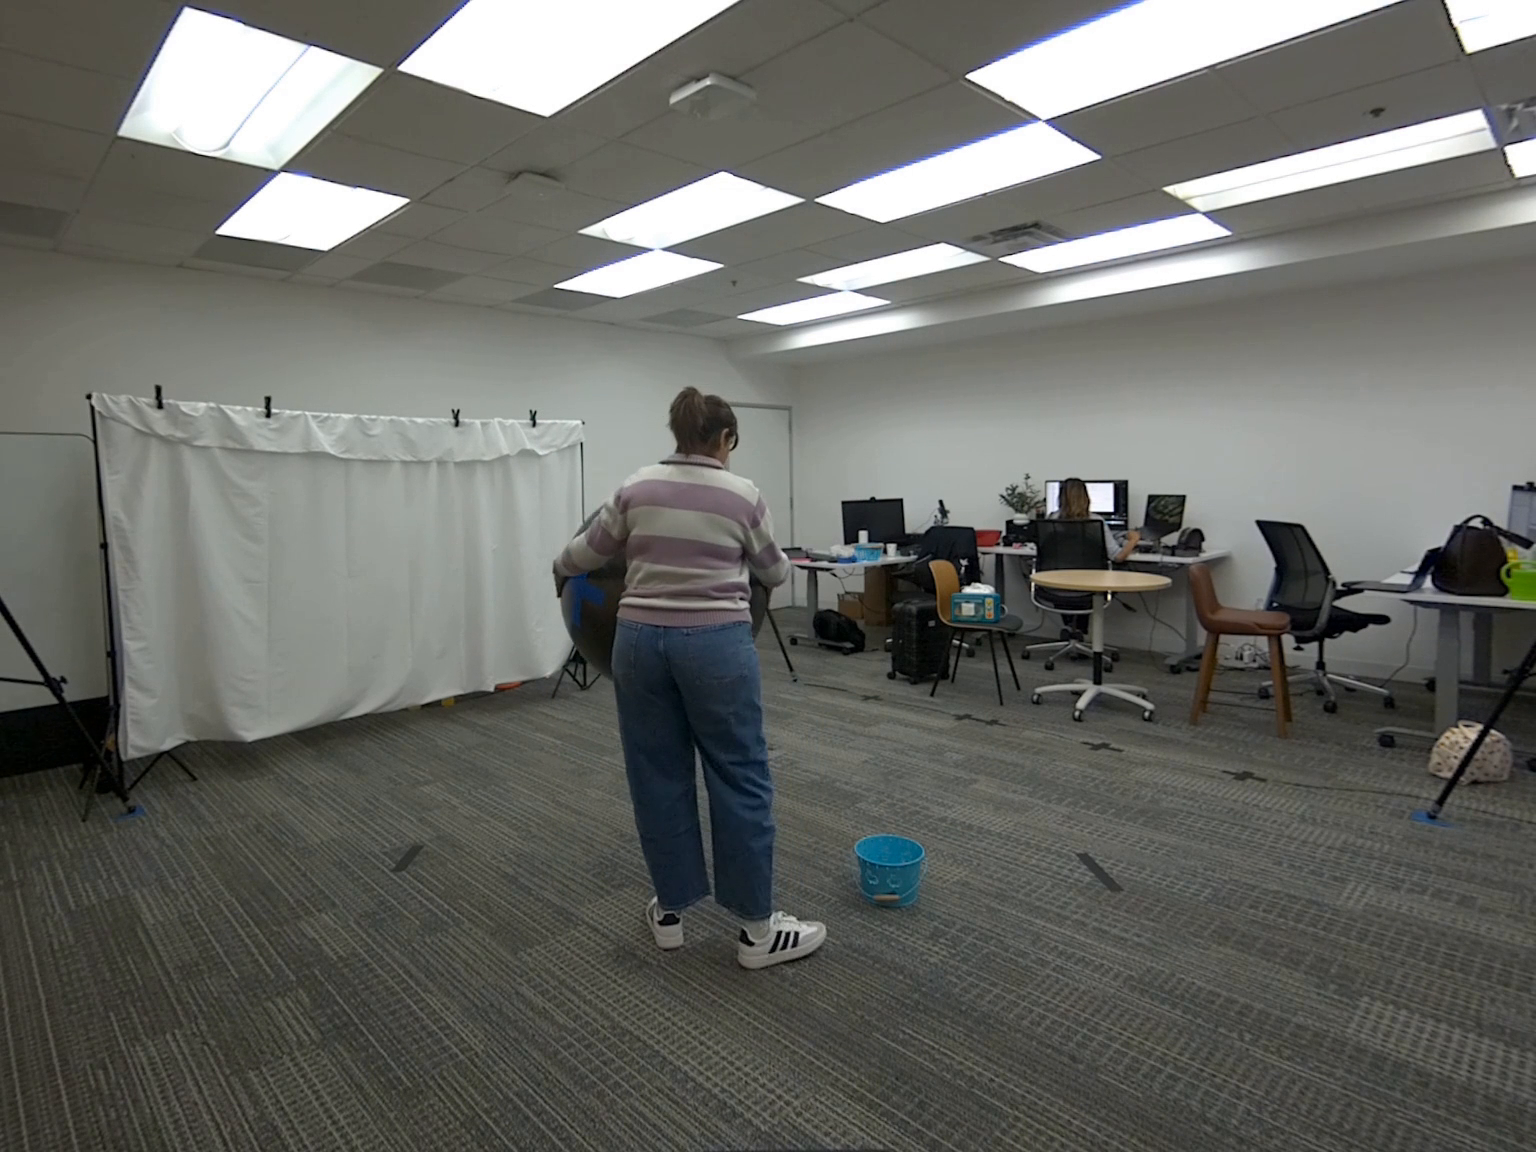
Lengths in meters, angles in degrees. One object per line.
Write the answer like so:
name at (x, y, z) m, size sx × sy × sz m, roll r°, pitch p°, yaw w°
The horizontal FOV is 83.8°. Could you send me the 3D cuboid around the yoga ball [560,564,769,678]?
yoga ball at (-0.369, 0.051, 3.109) m, size 0.757 × 0.755 × 0.762 m, roll -1°, pitch 5°, yaw -2°
